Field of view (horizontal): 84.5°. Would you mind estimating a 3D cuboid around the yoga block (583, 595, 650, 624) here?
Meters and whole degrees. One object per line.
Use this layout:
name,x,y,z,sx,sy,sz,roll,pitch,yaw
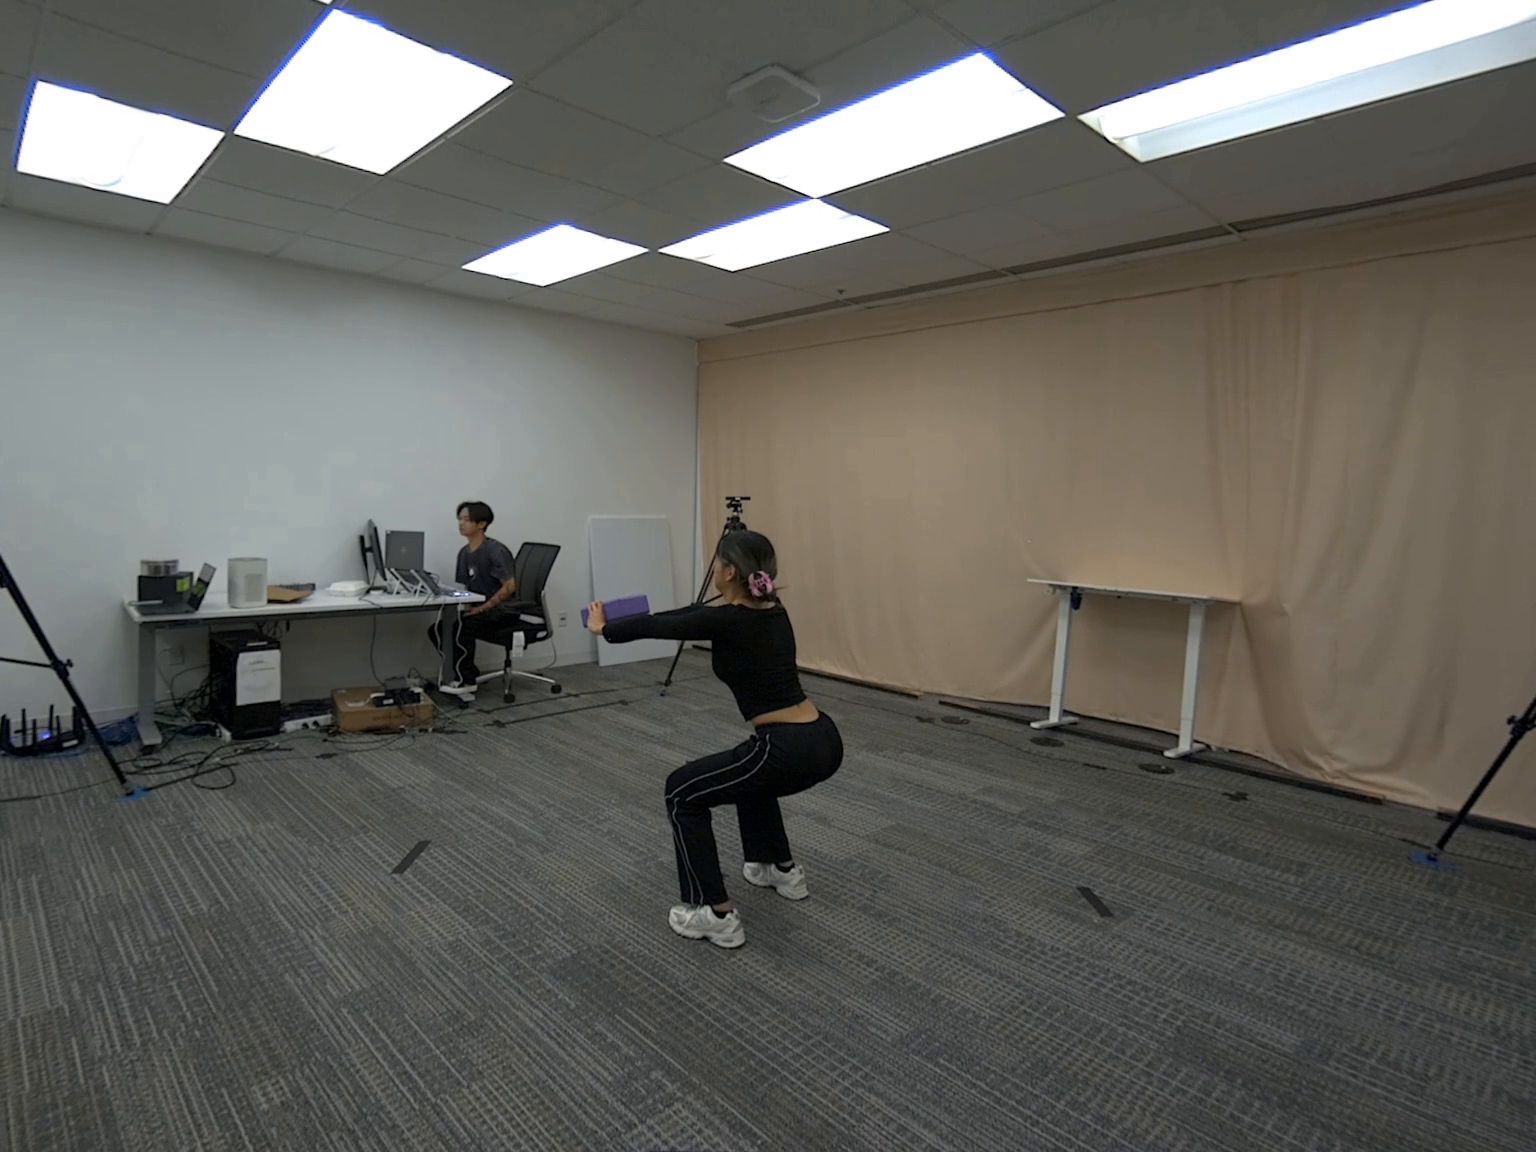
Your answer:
yoga block,-0.589,0.121,3.134,0.233,0.076,0.146,-11,-1,35
